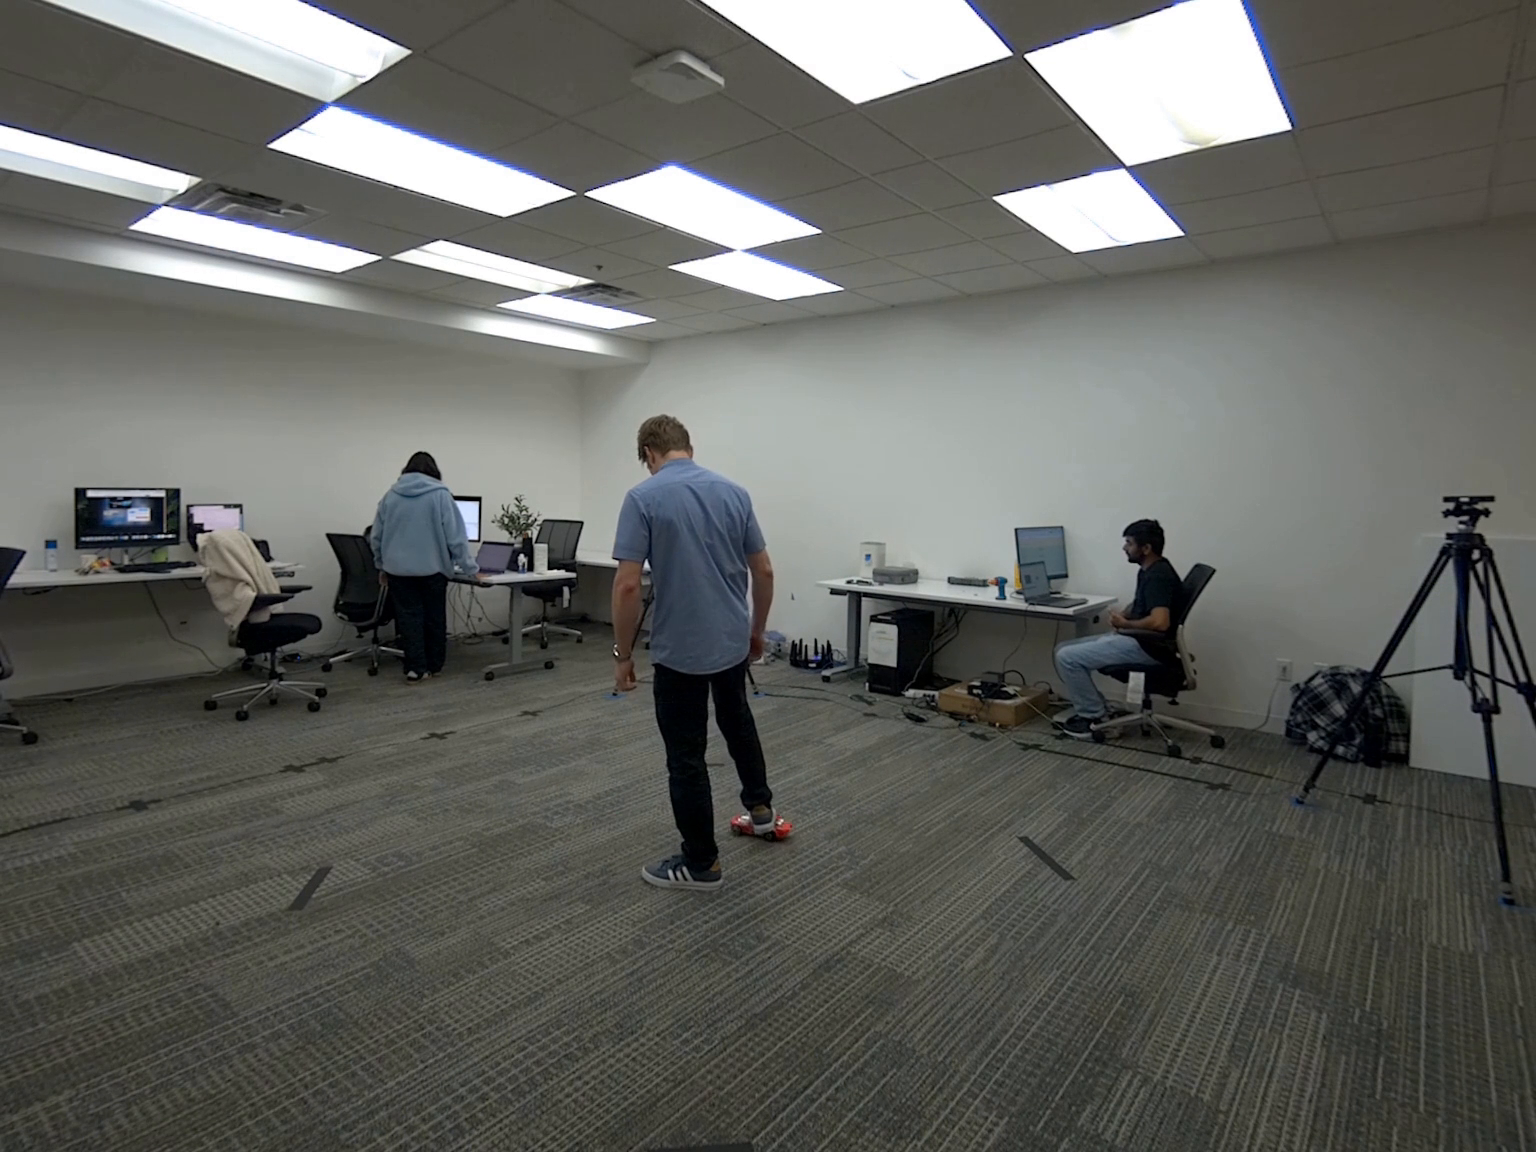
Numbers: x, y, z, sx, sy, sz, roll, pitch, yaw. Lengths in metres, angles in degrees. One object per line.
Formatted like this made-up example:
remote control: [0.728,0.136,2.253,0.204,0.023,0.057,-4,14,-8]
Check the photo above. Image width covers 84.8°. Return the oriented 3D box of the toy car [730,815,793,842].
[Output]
toy car: [-0.033,1.010,3.434,0.259,0.083,0.128,-8,1,22]
